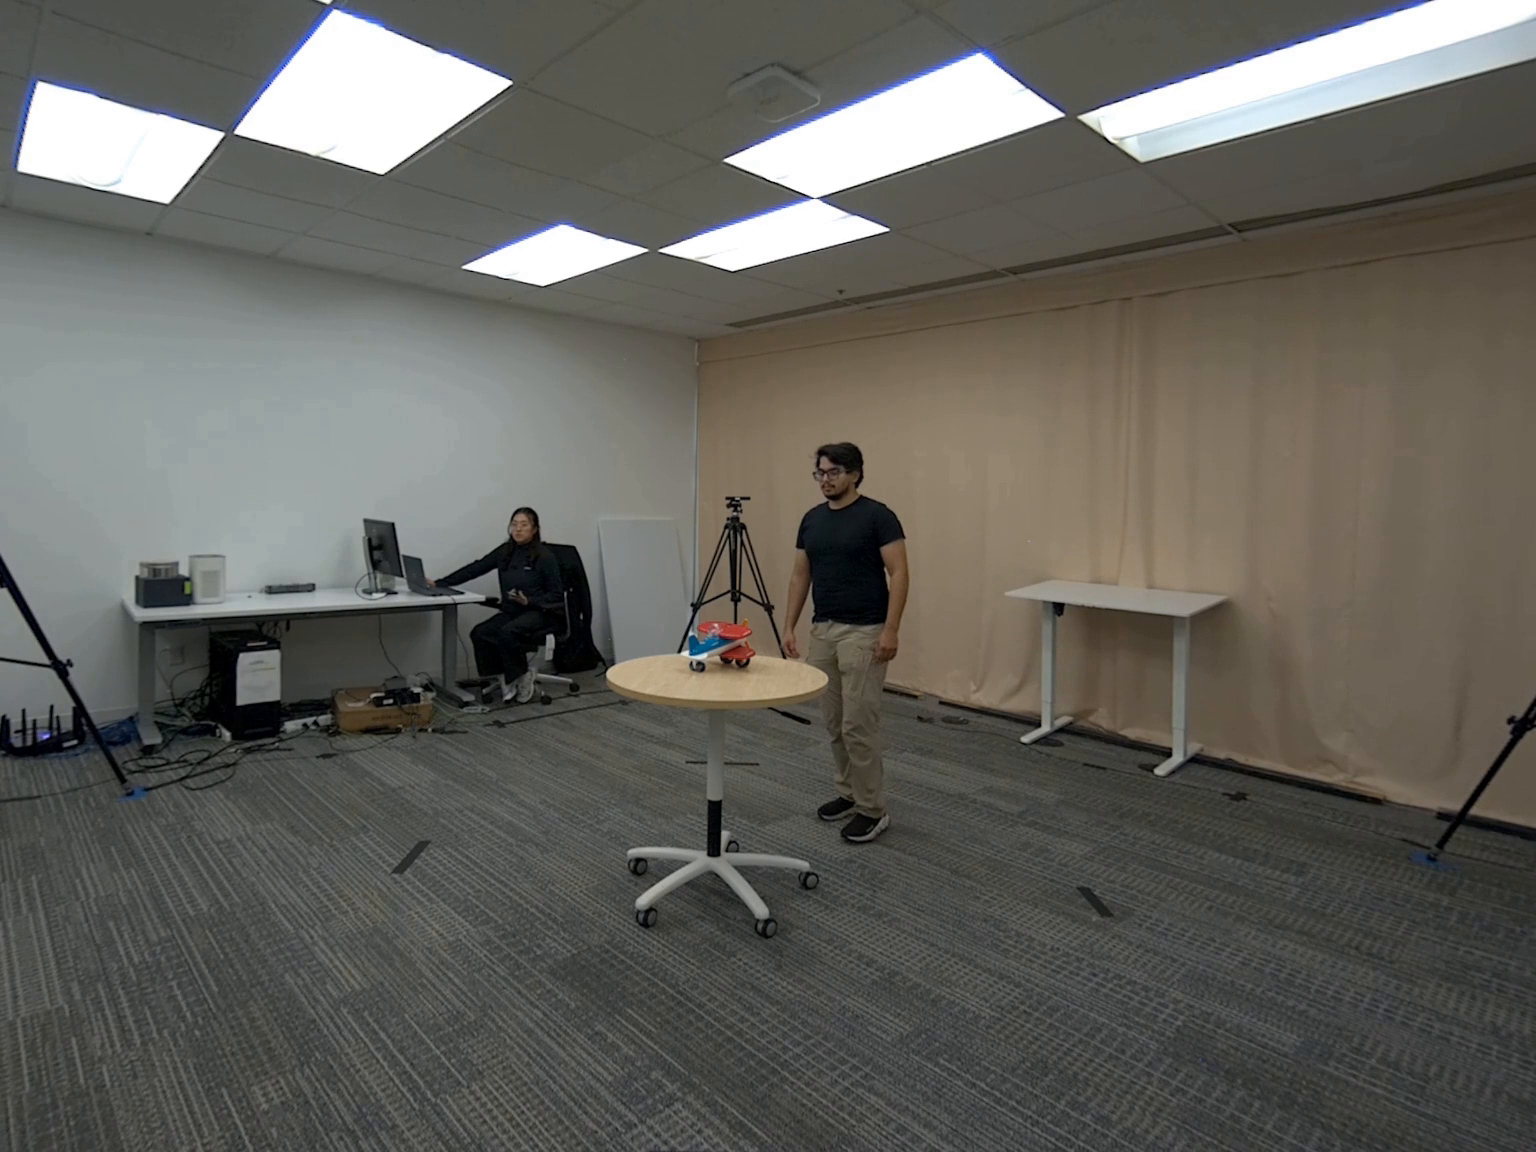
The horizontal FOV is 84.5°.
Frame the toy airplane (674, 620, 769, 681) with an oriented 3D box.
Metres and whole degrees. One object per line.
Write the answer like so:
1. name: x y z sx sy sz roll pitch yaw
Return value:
1. toy airplane: -0.163 0.256 2.995 0.255 0.156 0.255 3 3 20
